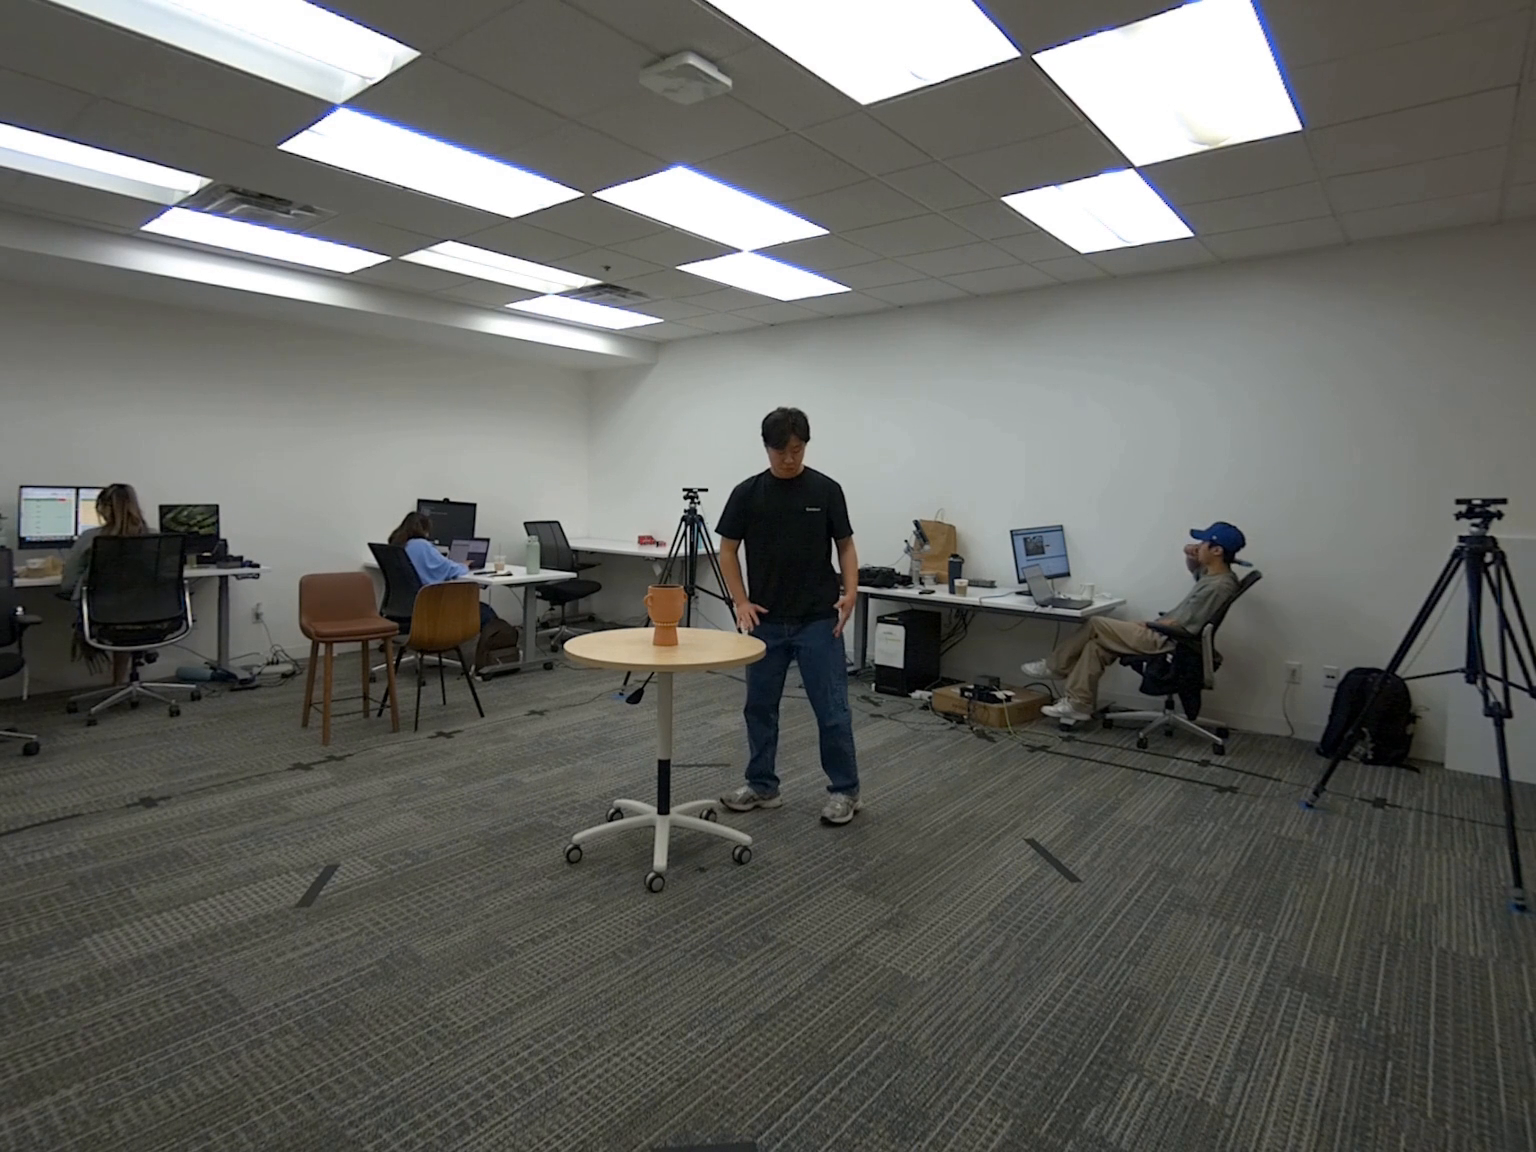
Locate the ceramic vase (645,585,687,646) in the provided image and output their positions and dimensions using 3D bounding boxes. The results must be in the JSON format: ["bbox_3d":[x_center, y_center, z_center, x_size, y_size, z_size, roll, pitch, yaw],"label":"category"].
[{"bbox_3d":[-0.403,0.149,3.235,0.159,0.219,0.135,1,4,0],"label":"ceramic vase"}]
